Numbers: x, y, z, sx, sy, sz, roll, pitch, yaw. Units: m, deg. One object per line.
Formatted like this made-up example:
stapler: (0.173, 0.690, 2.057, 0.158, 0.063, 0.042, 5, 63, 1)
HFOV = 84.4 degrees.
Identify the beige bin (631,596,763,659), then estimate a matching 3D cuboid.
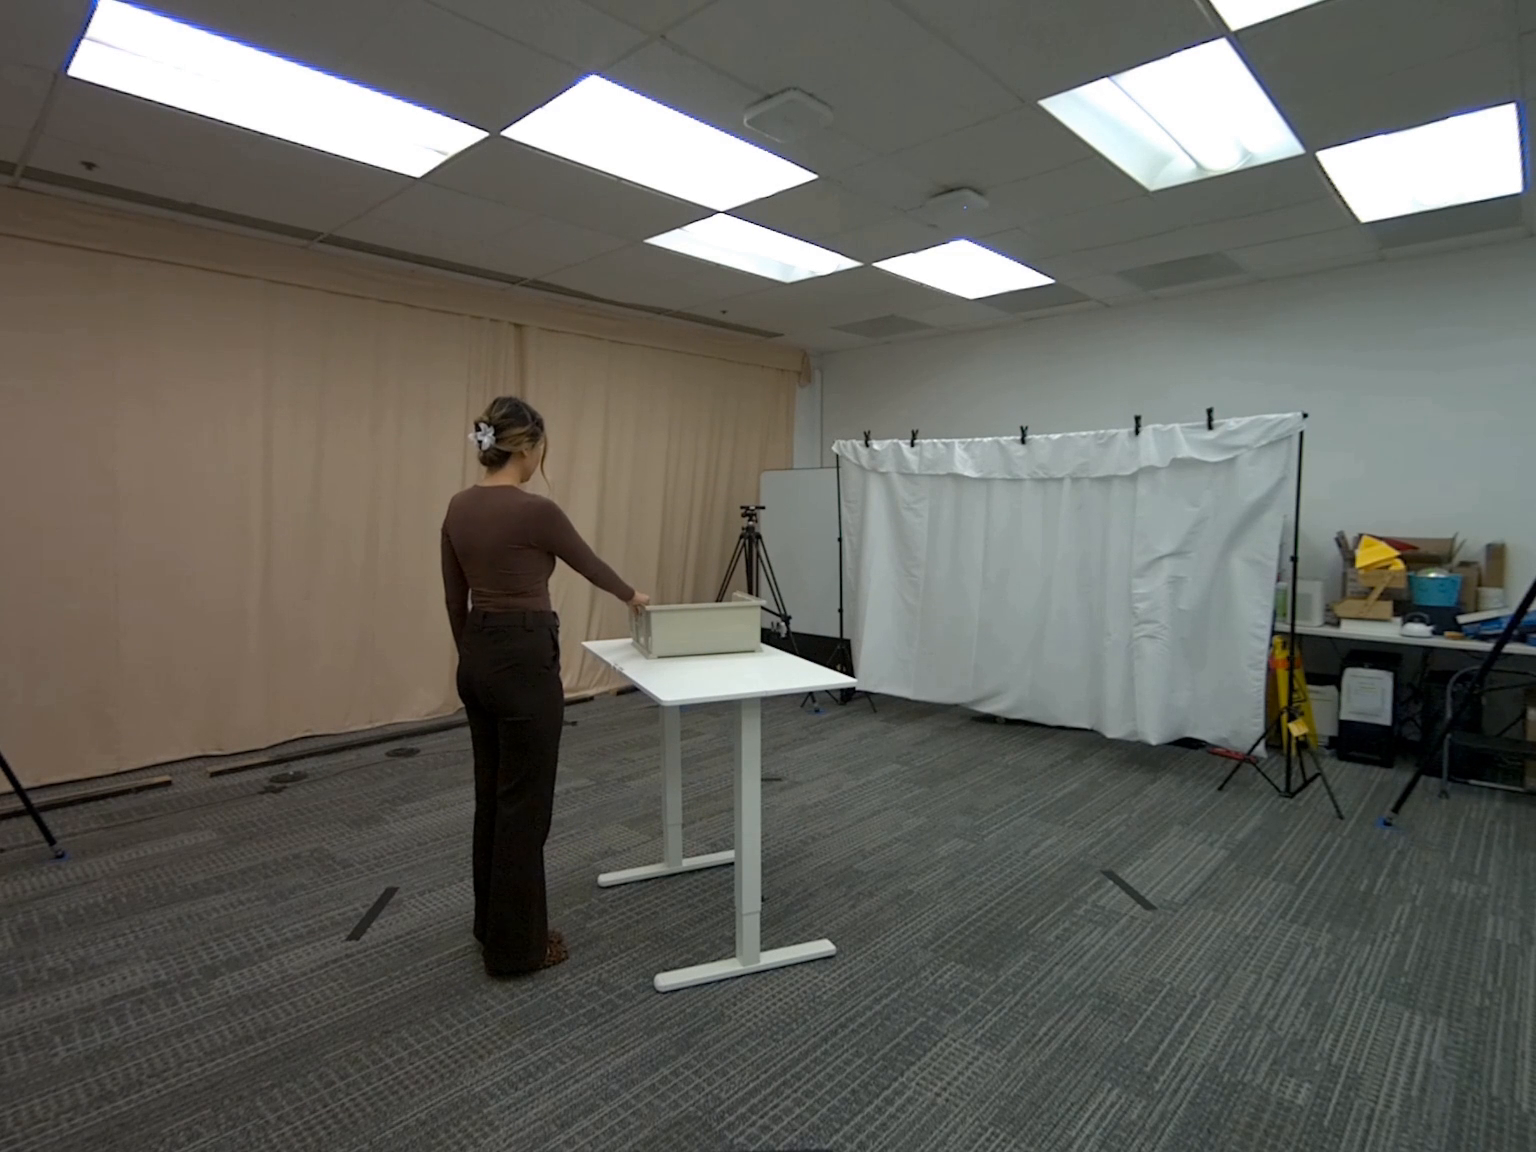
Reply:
beige bin: (-0.268, 0.169, 3.019, 0.415, 0.188, 0.385, -1, 6, -18)
